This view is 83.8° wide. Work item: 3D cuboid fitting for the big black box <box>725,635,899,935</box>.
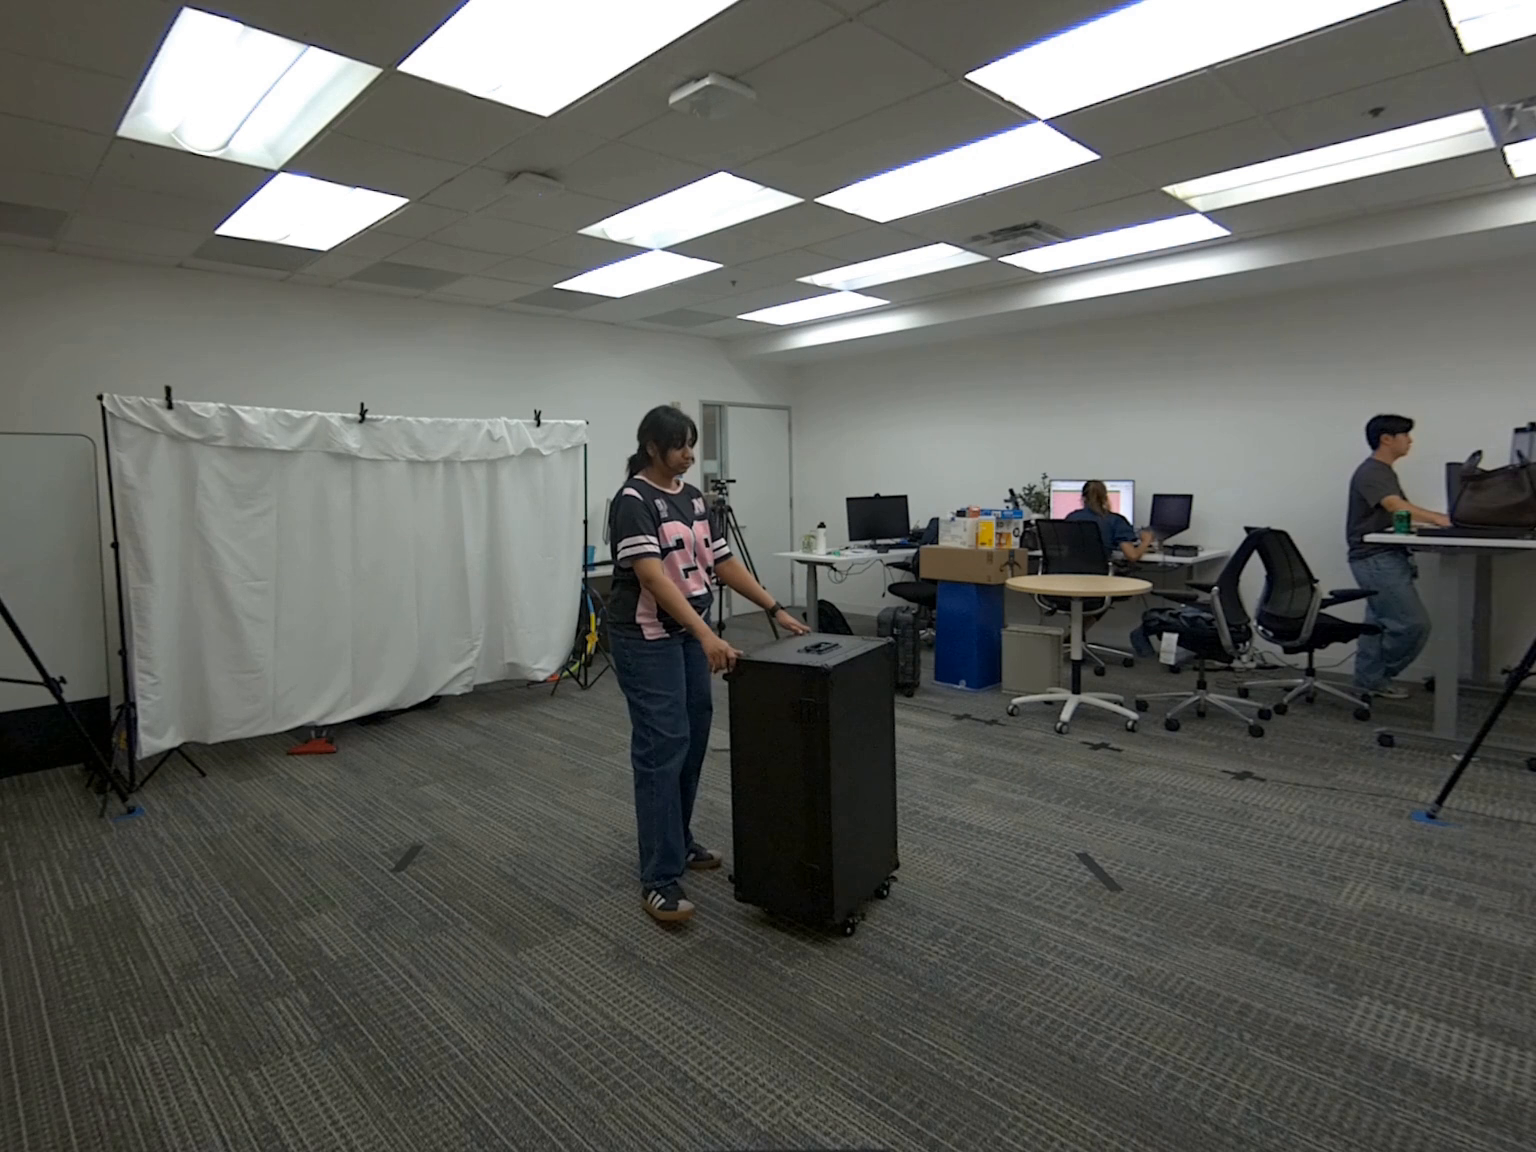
[{"bbox_3d":[0.152,0.660,2.774,0.395,0.866,0.511,0,4,32],"label":"big black box"}]
